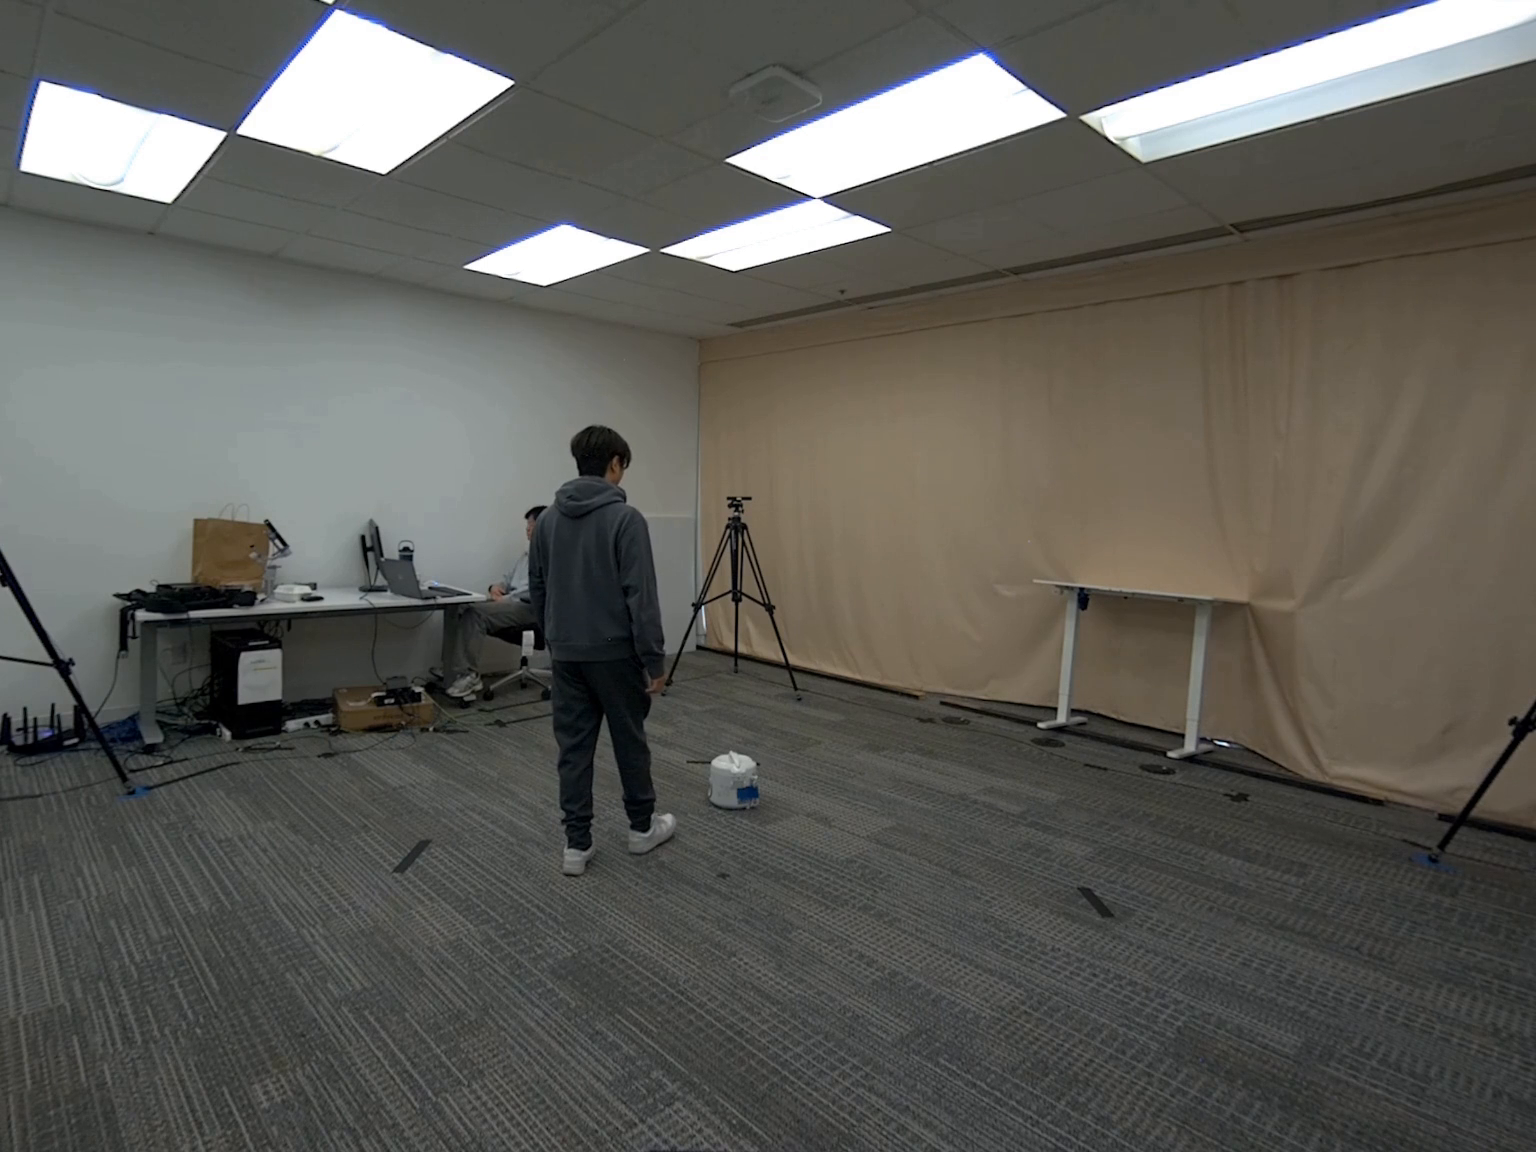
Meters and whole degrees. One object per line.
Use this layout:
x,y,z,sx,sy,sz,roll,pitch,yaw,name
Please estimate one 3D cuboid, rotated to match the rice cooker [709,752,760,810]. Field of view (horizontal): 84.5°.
-0.171,0.923,3.849,0.215,0.232,0.223,2,3,-13,rice cooker
